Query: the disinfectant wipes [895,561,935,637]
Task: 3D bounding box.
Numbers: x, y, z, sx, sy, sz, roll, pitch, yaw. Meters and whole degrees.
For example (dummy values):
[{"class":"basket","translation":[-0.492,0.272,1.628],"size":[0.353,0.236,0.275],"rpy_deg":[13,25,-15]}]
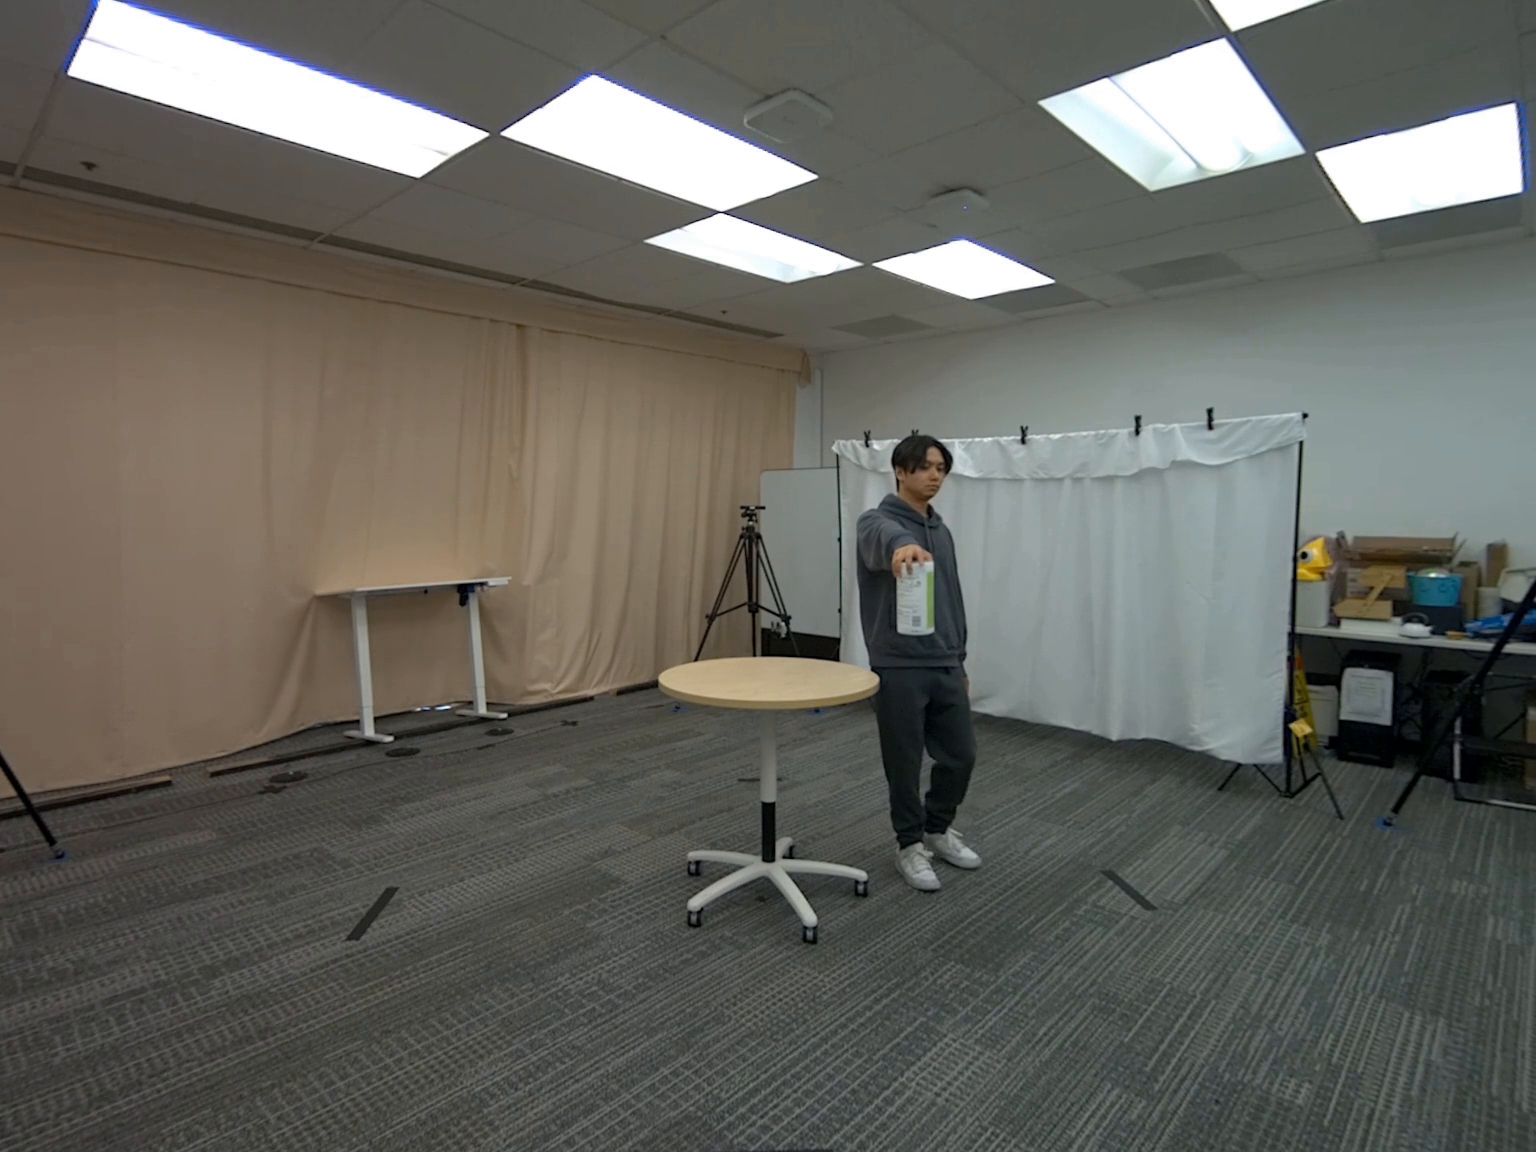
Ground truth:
[{"class":"disinfectant wipes","translation":[0.439,0.066,2.514],"size":[0.118,0.217,0.118],"rpy_deg":[-1,3,-2]}]
